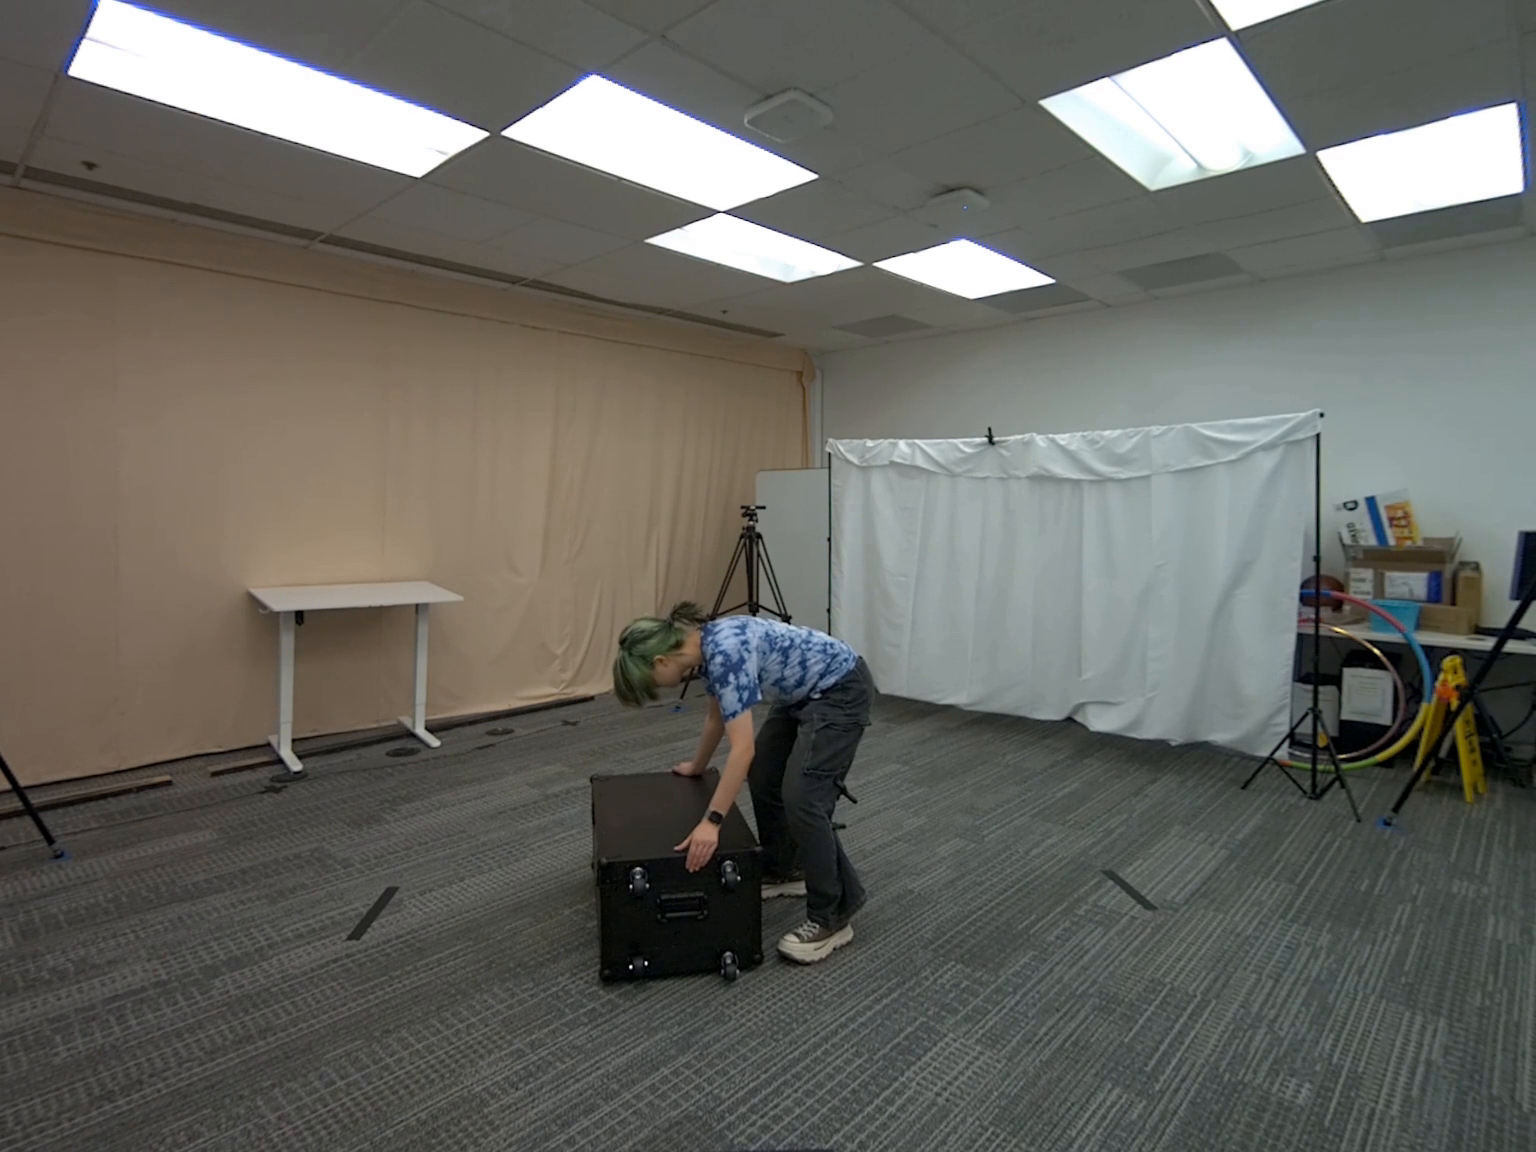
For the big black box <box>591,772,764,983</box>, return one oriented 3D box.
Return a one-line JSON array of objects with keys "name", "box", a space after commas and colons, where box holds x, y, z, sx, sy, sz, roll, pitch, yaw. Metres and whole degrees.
[{"name": "big black box", "box": [-0.345, 0.960, 2.865, 0.514, 0.395, 0.876, -1, 5, -15]}]
